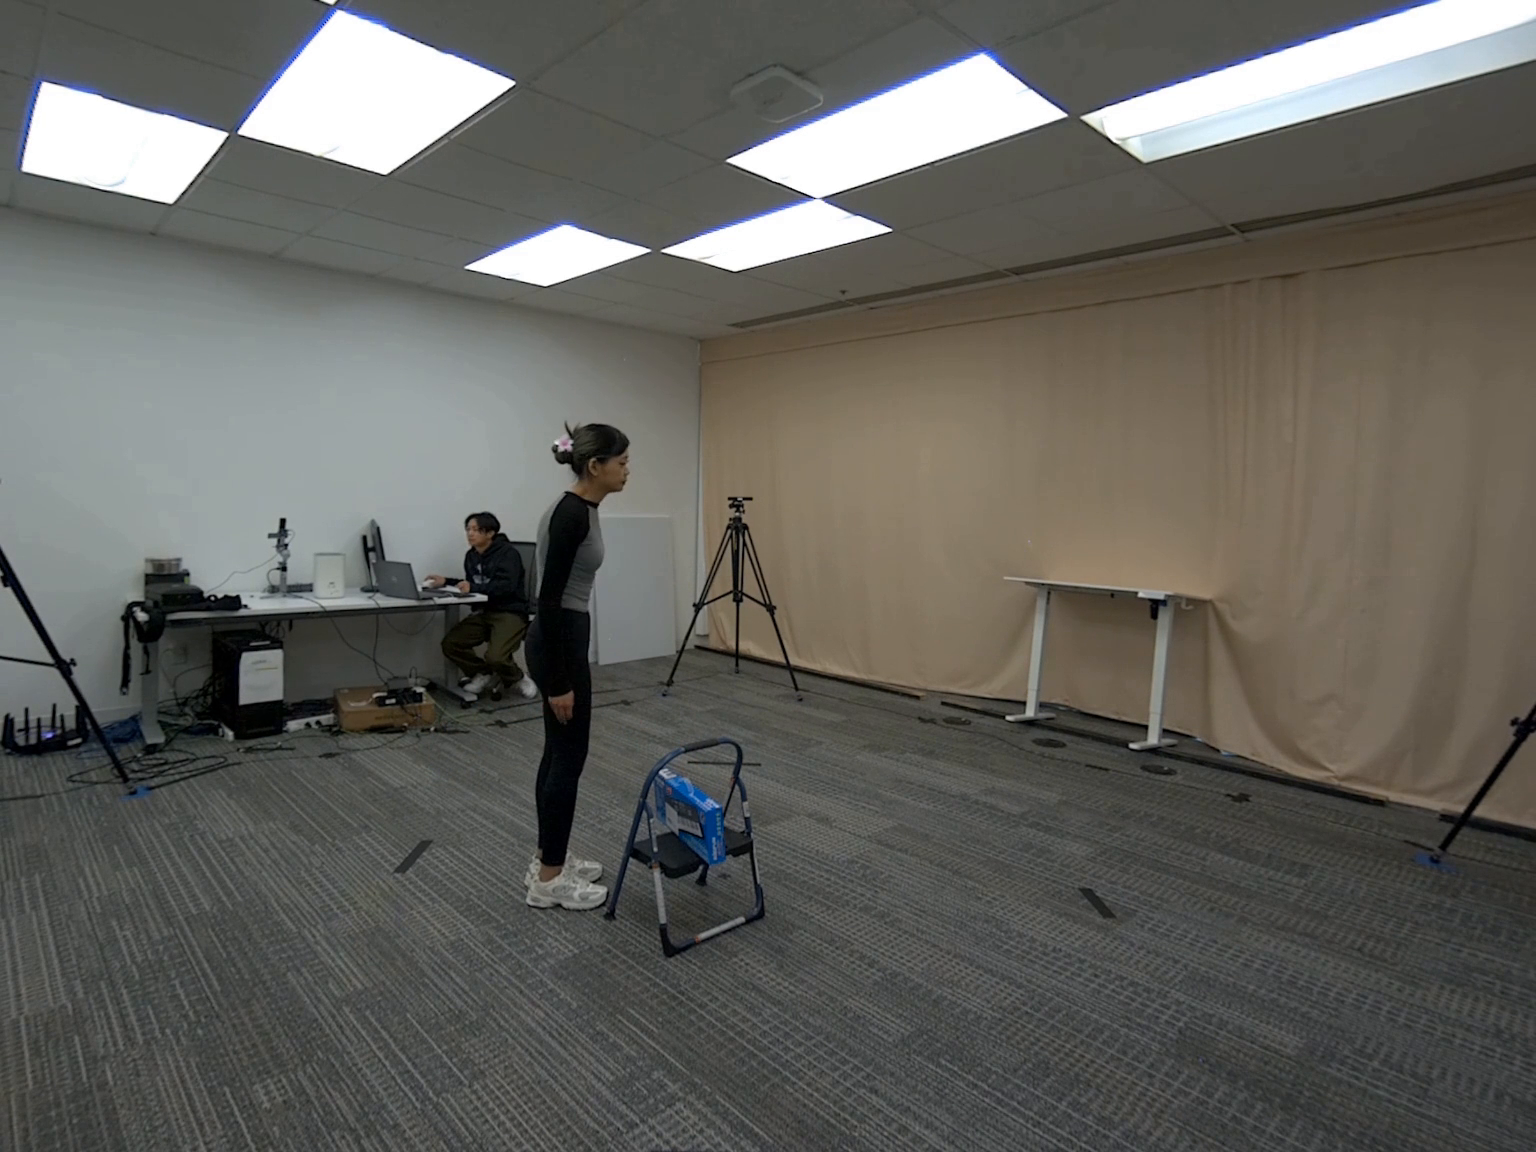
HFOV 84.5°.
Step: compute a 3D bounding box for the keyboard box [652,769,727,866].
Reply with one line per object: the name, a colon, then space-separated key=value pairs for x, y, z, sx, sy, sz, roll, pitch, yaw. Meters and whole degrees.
keyboard box: x=-0.271 y=0.786 z=2.769 sx=0.058 sy=0.175 sz=0.446 roll=-7 pitch=7 yaw=-27
